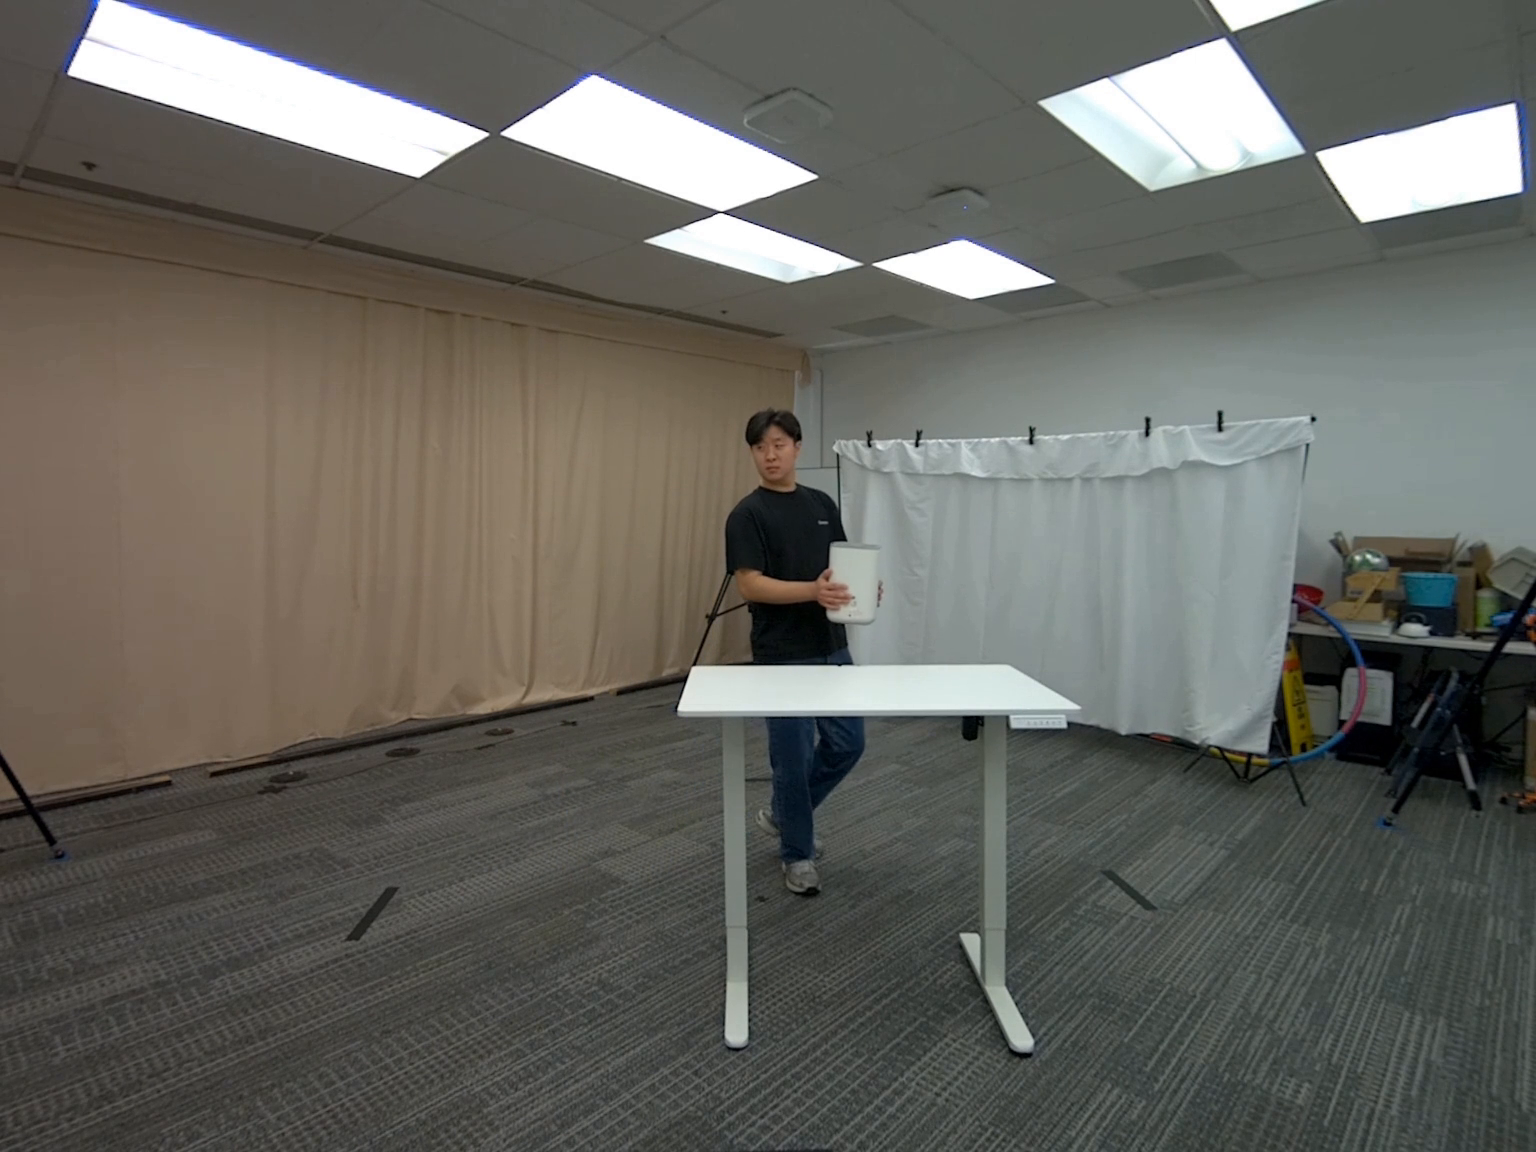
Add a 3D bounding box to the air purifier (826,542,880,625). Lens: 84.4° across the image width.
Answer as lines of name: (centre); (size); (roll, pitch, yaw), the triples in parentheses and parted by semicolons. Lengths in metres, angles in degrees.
air purifier: (0.293, 0.025, 2.896); (0.173, 0.264, 0.170); (5, 6, 11)
